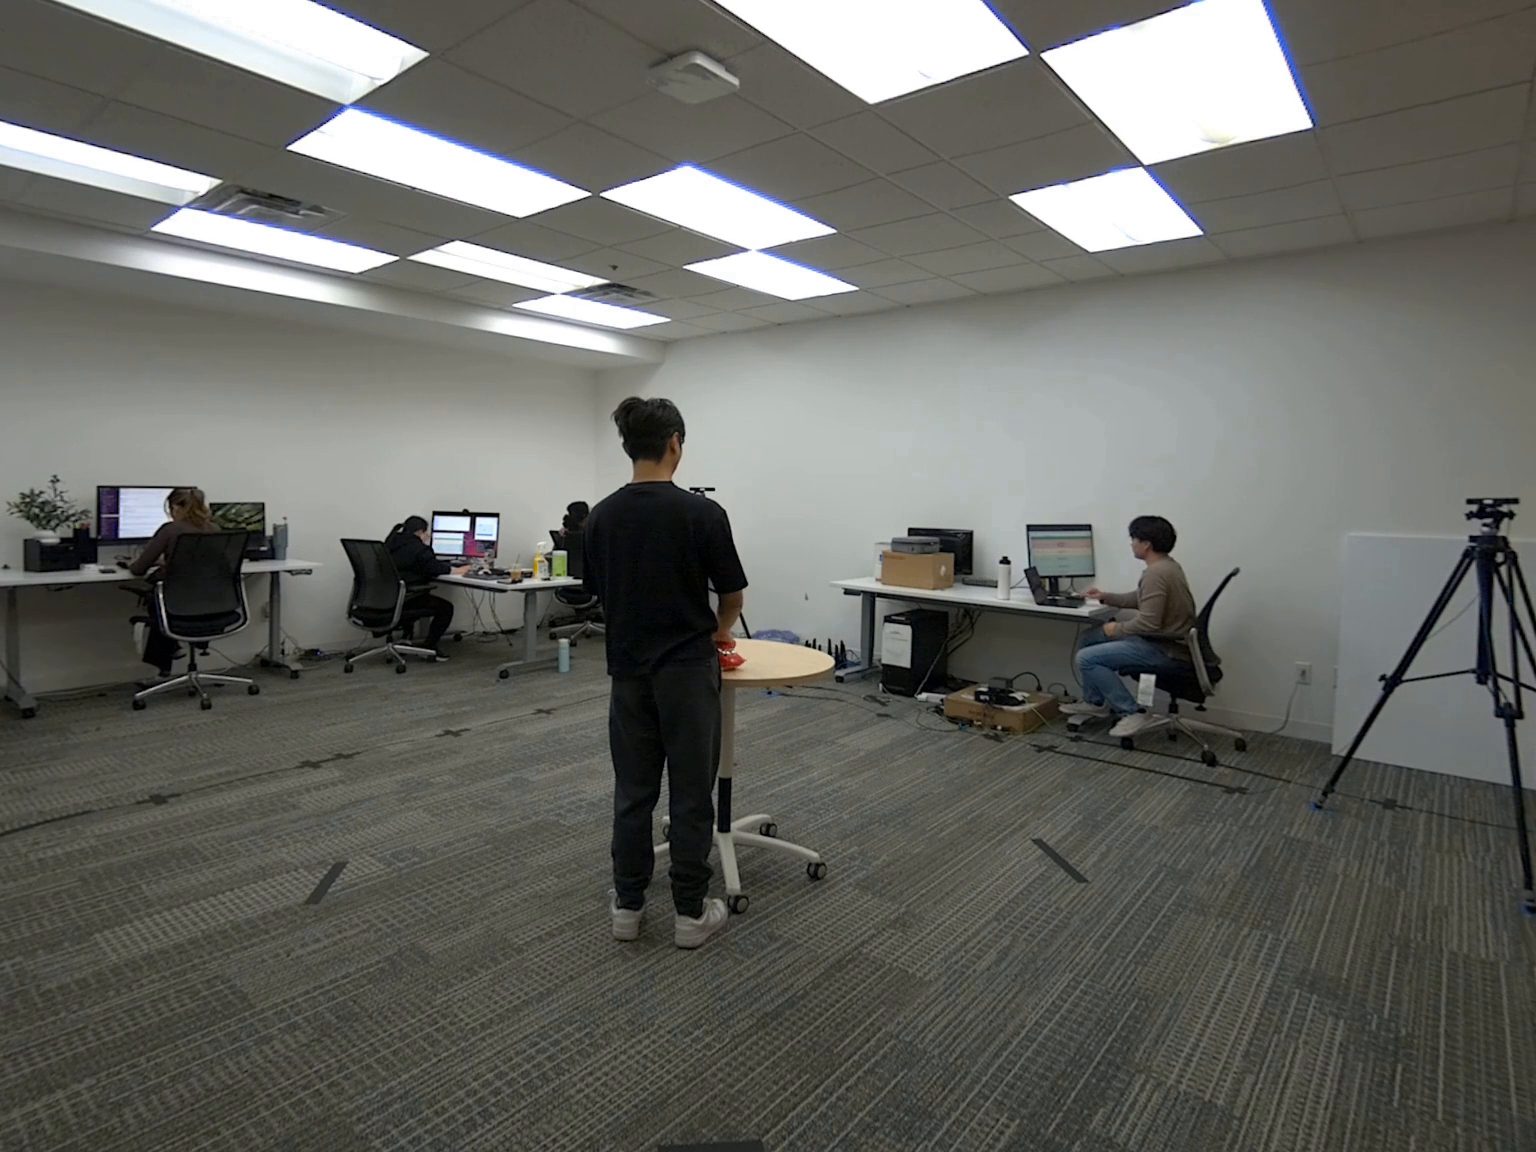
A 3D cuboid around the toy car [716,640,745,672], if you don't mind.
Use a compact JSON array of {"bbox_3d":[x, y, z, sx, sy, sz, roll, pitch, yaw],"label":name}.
[{"bbox_3d":[-0.196,0.258,2.896,0.264,0.083,0.126,13,9,41],"label":"toy car"}]
